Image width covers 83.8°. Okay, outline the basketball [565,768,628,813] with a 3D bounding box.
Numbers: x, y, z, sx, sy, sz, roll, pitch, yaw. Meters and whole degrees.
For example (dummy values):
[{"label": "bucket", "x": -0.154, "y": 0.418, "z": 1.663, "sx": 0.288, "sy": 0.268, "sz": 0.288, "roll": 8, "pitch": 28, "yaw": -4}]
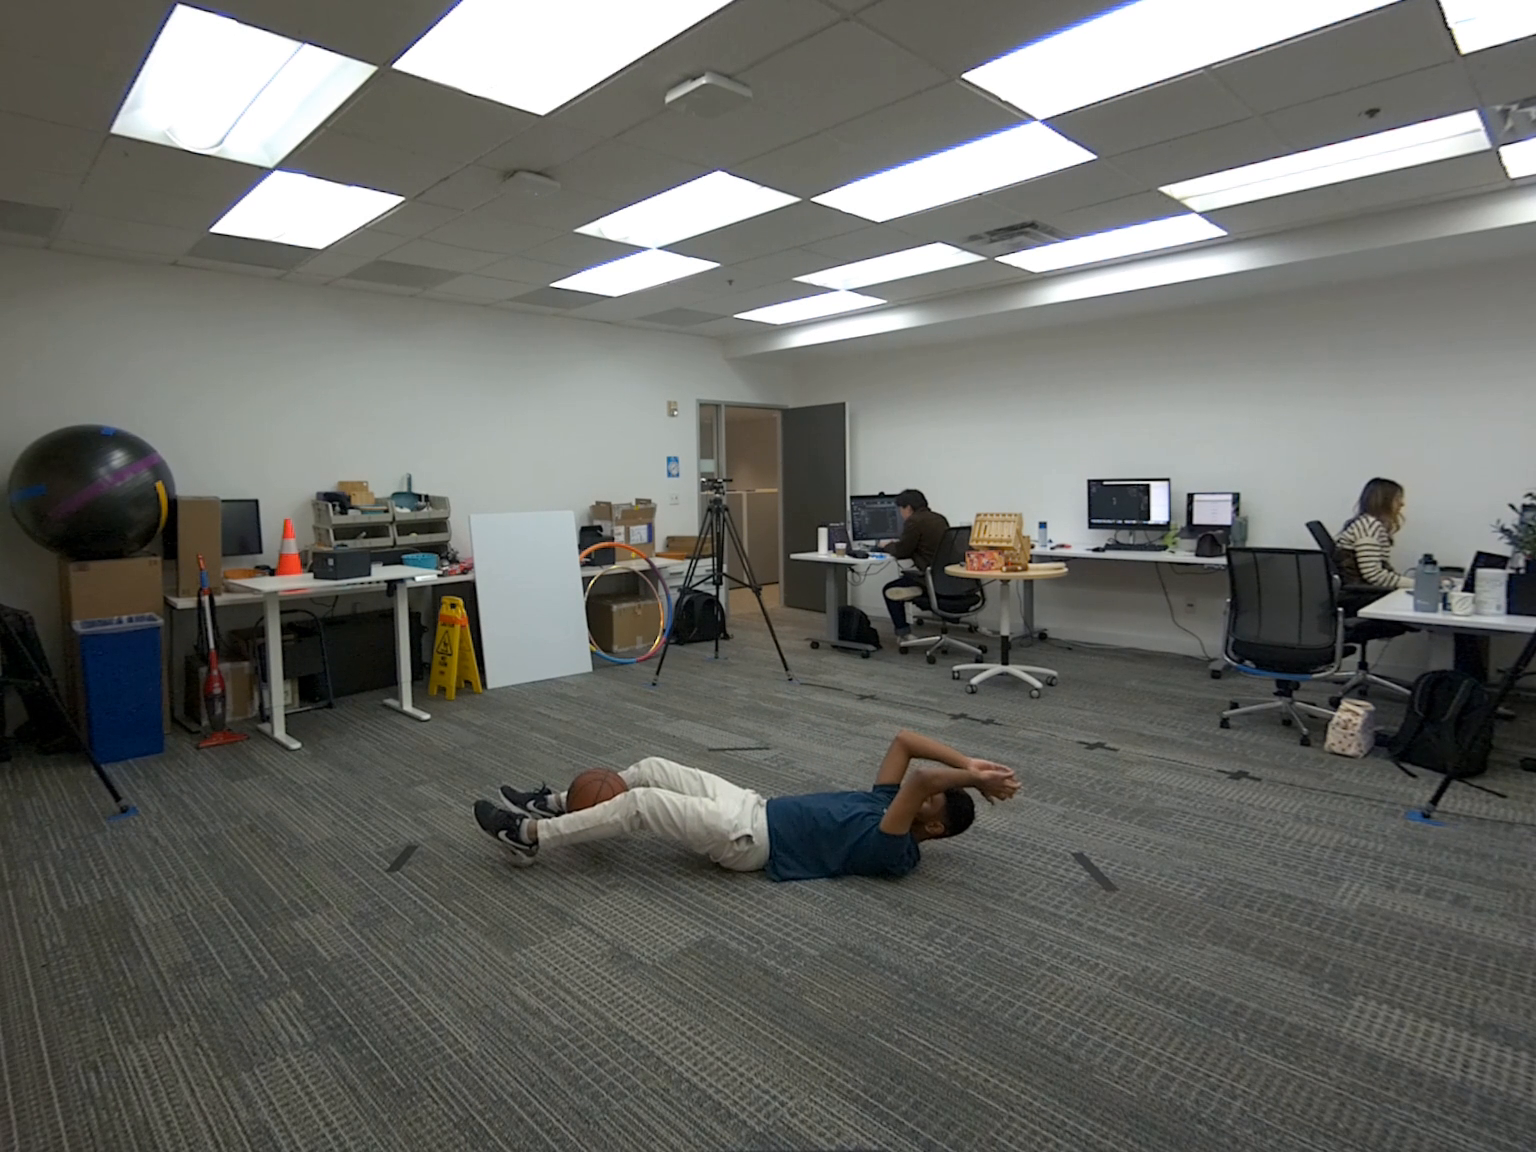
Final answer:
[{"label": "basketball", "x": -0.641, "y": 0.840, "z": 3.217, "sx": 0.236, "sy": 0.235, "sz": 0.237, "roll": -1, "pitch": 5, "yaw": -2}]
